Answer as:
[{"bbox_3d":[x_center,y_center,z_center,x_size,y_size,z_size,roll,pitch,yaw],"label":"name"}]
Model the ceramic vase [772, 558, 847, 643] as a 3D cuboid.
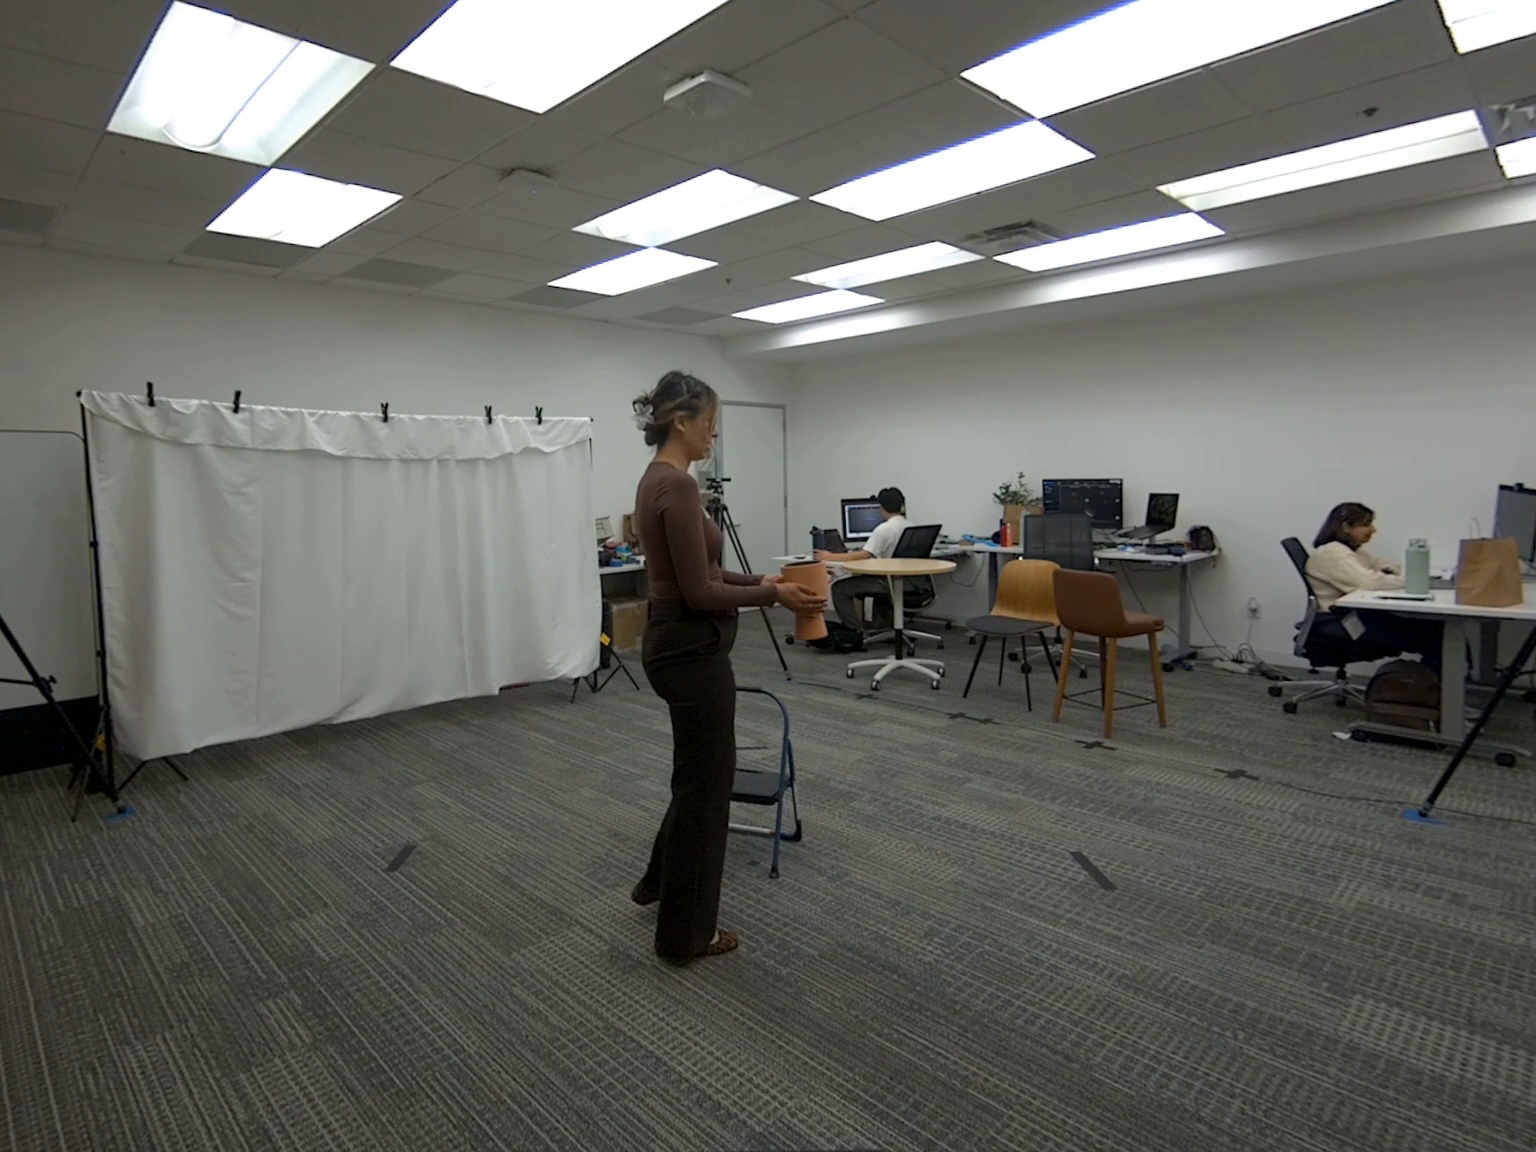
[{"bbox_3d":[0.122,0.070,2.522,0.162,0.218,0.133,-3,8,24],"label":"ceramic vase"}]
